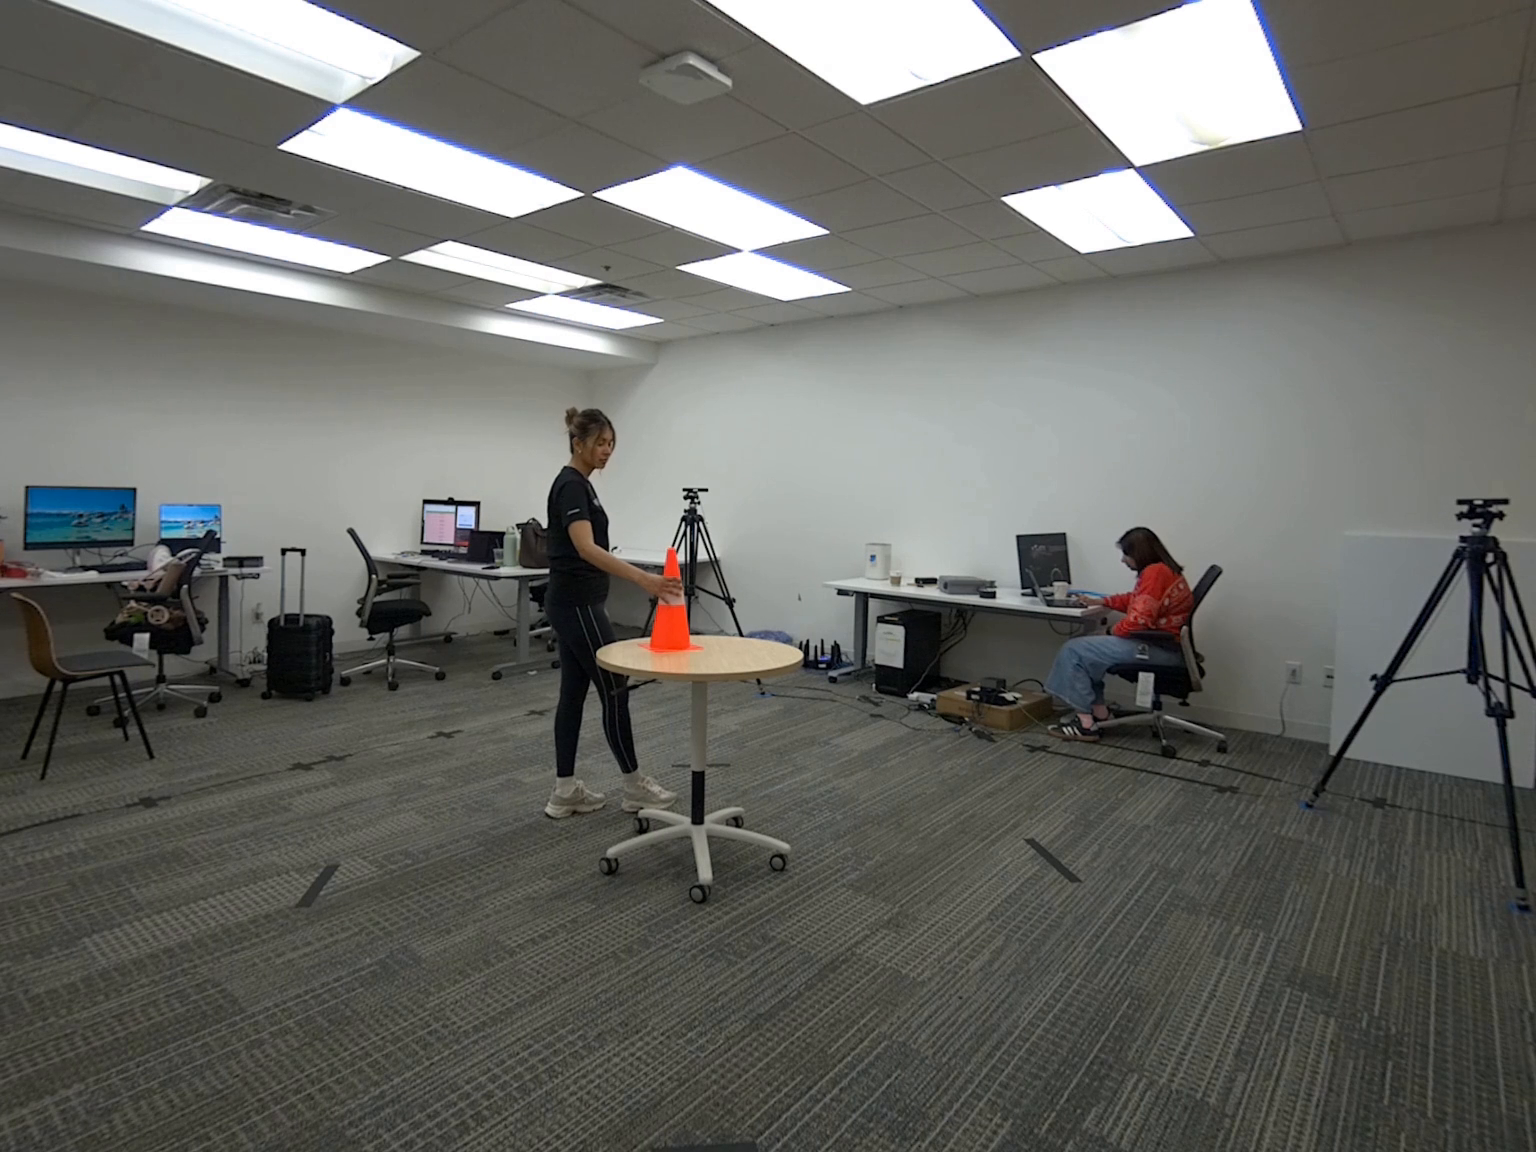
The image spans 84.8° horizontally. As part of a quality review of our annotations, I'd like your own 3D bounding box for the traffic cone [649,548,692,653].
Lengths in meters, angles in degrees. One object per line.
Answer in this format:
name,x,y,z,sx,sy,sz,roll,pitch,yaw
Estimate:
traffic cone,-0.386,0.082,3.257,0.210,0.383,0.199,1,4,38
